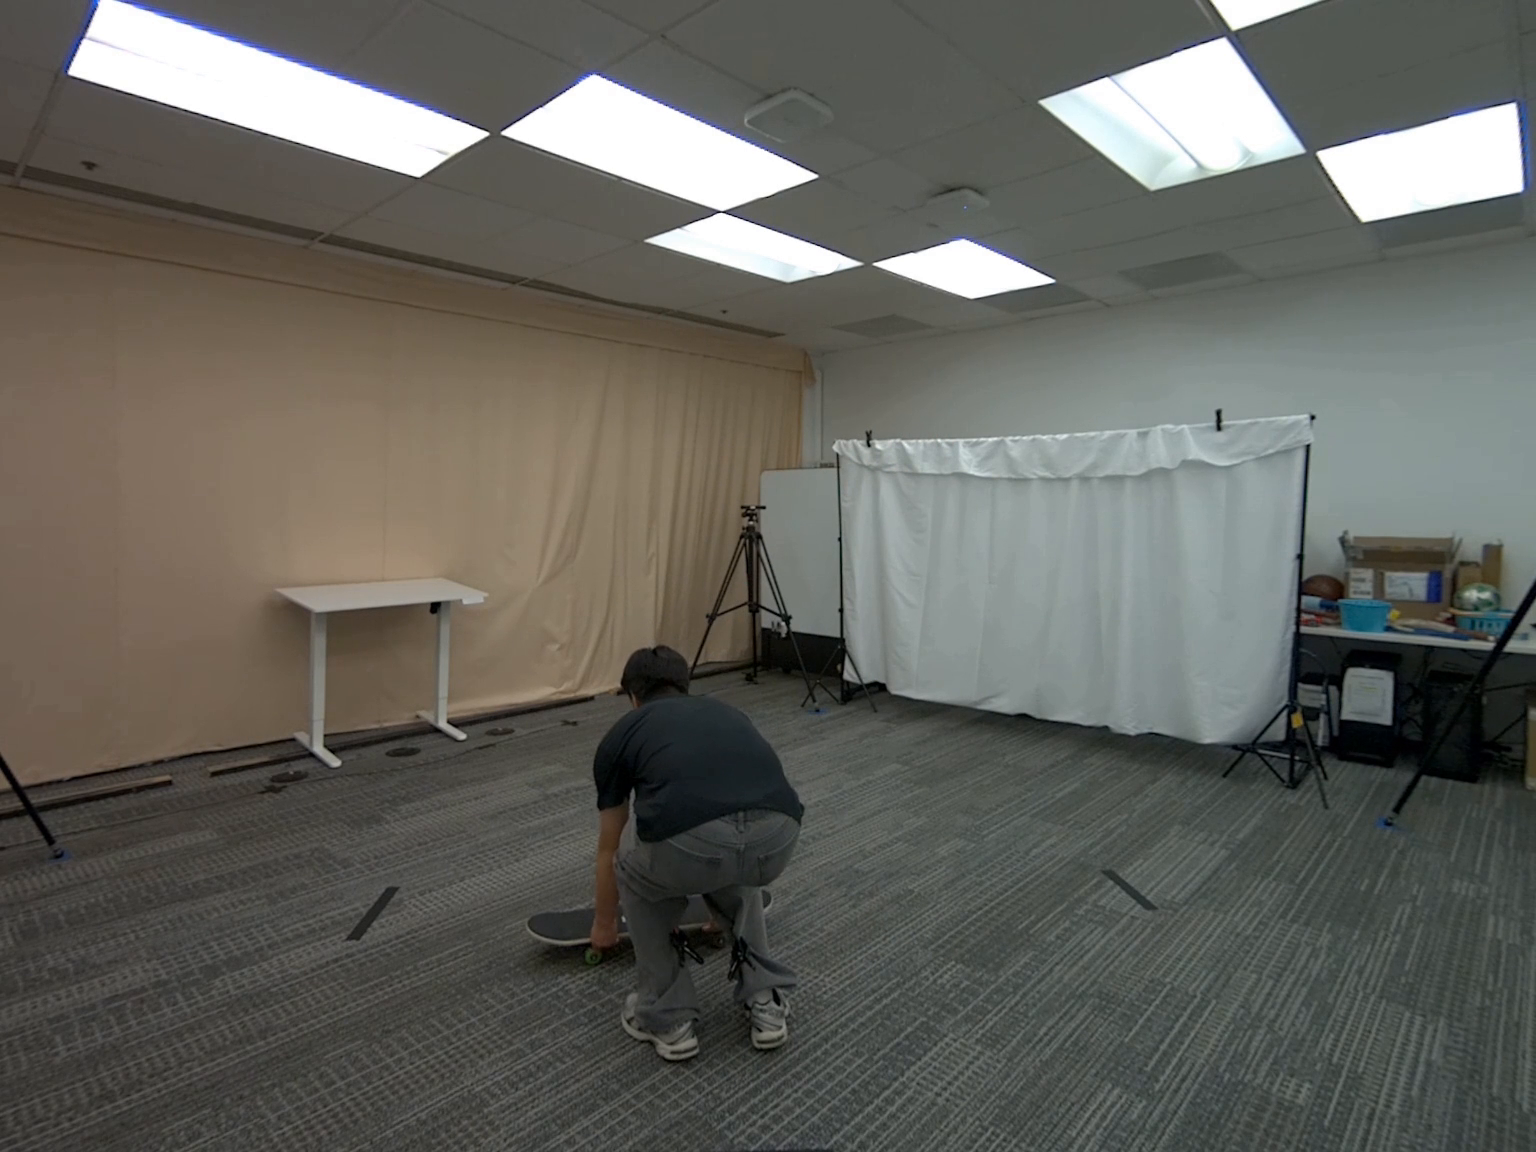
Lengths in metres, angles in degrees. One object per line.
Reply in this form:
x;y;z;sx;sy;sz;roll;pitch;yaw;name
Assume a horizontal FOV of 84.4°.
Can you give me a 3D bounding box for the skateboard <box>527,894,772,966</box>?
-0.356;1.106;2.685;0.774;0.110;0.196;-2;4;-13;skateboard
